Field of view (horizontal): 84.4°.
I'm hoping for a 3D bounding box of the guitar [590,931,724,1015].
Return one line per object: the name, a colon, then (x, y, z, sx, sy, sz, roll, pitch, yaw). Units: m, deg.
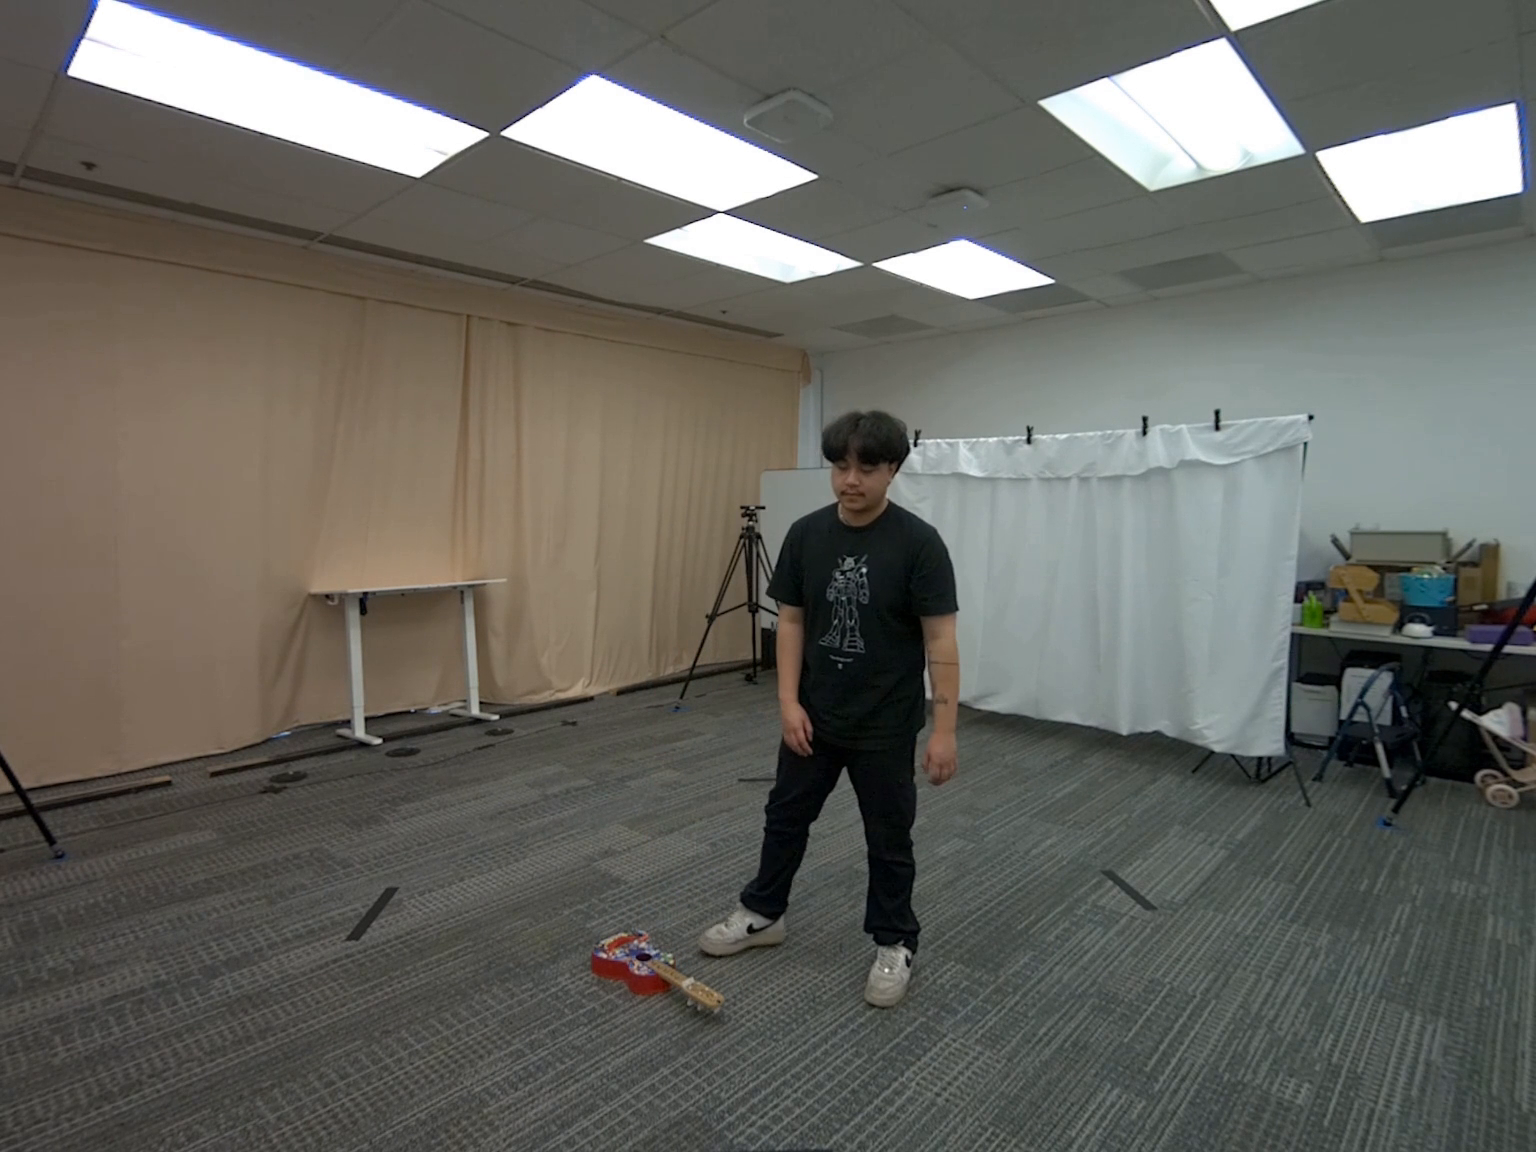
guitar: (-0.337, 1.156, 2.427, 0.187, 0.070, 0.514, -3, 6, -36)
